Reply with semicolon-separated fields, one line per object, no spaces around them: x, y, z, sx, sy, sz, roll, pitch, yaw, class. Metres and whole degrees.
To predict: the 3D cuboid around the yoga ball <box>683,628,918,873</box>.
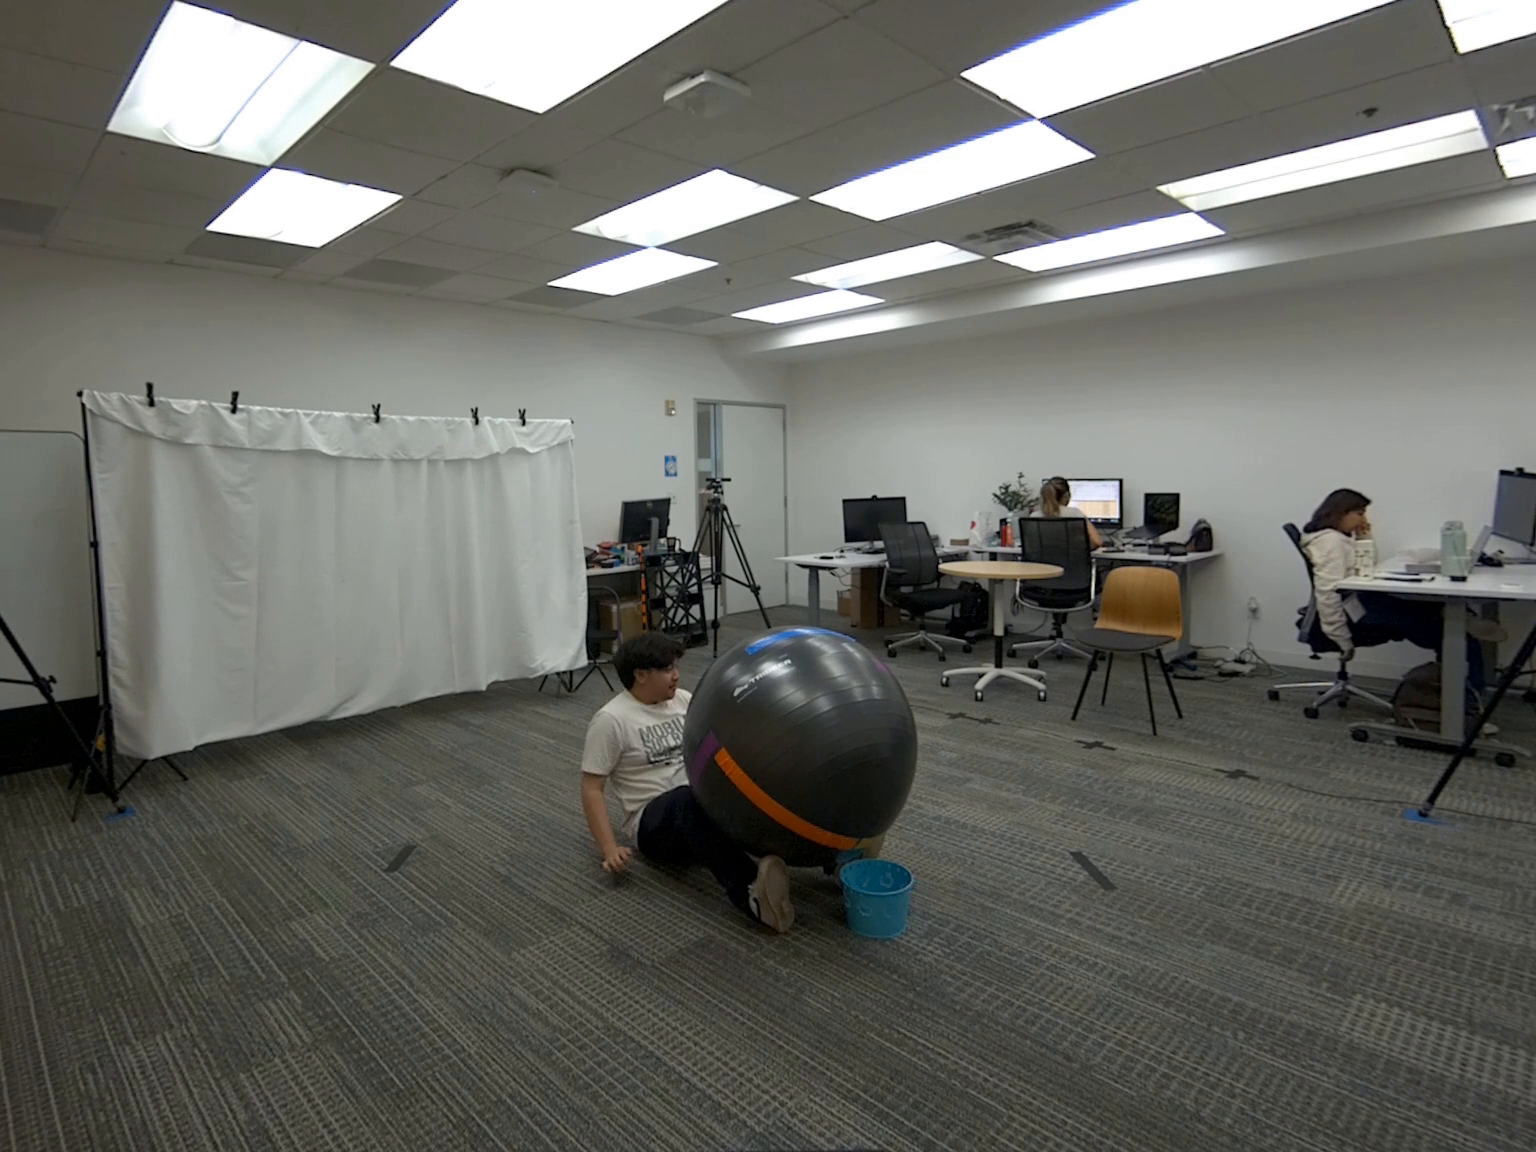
0.104;0.542;2.787;0.757;0.755;0.762;-1;5;-2;yoga ball
